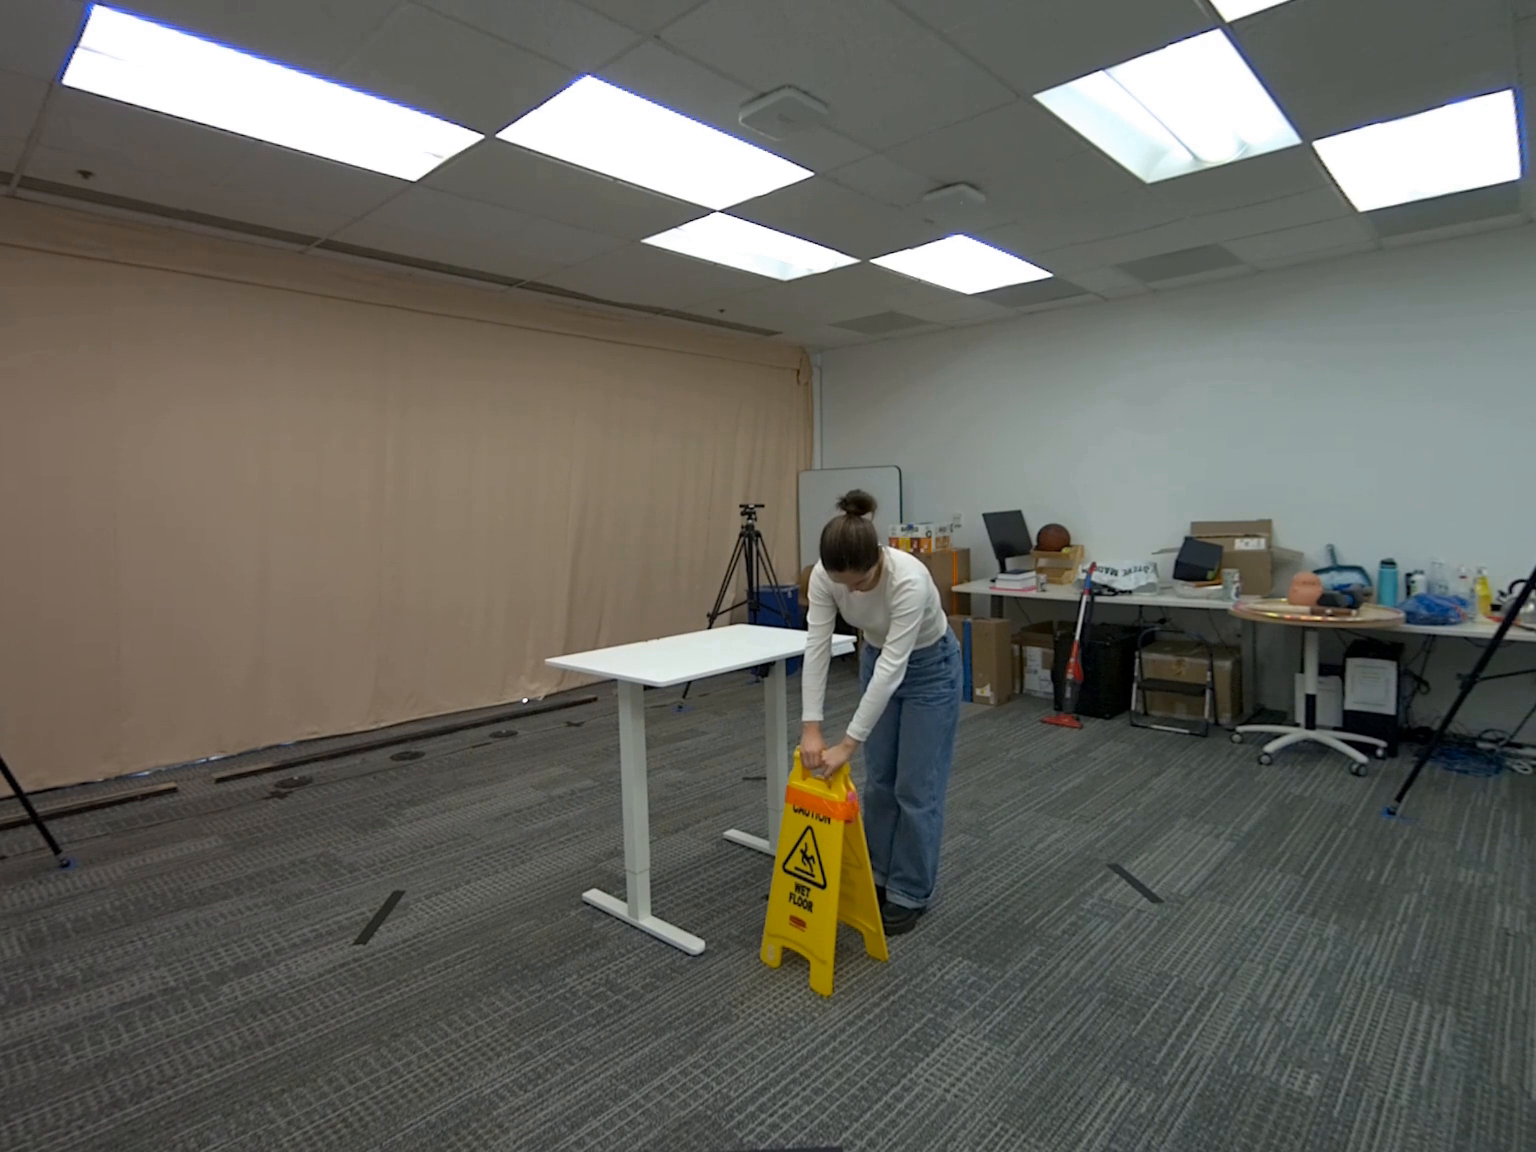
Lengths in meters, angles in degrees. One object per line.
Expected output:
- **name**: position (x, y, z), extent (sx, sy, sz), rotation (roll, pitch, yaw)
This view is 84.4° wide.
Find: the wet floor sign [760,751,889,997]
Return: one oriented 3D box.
- **wet floor sign**: position (0.172, 0.850, 2.549), extent (0.281, 0.645, 0.291), rotation (-3, 4, -44)
